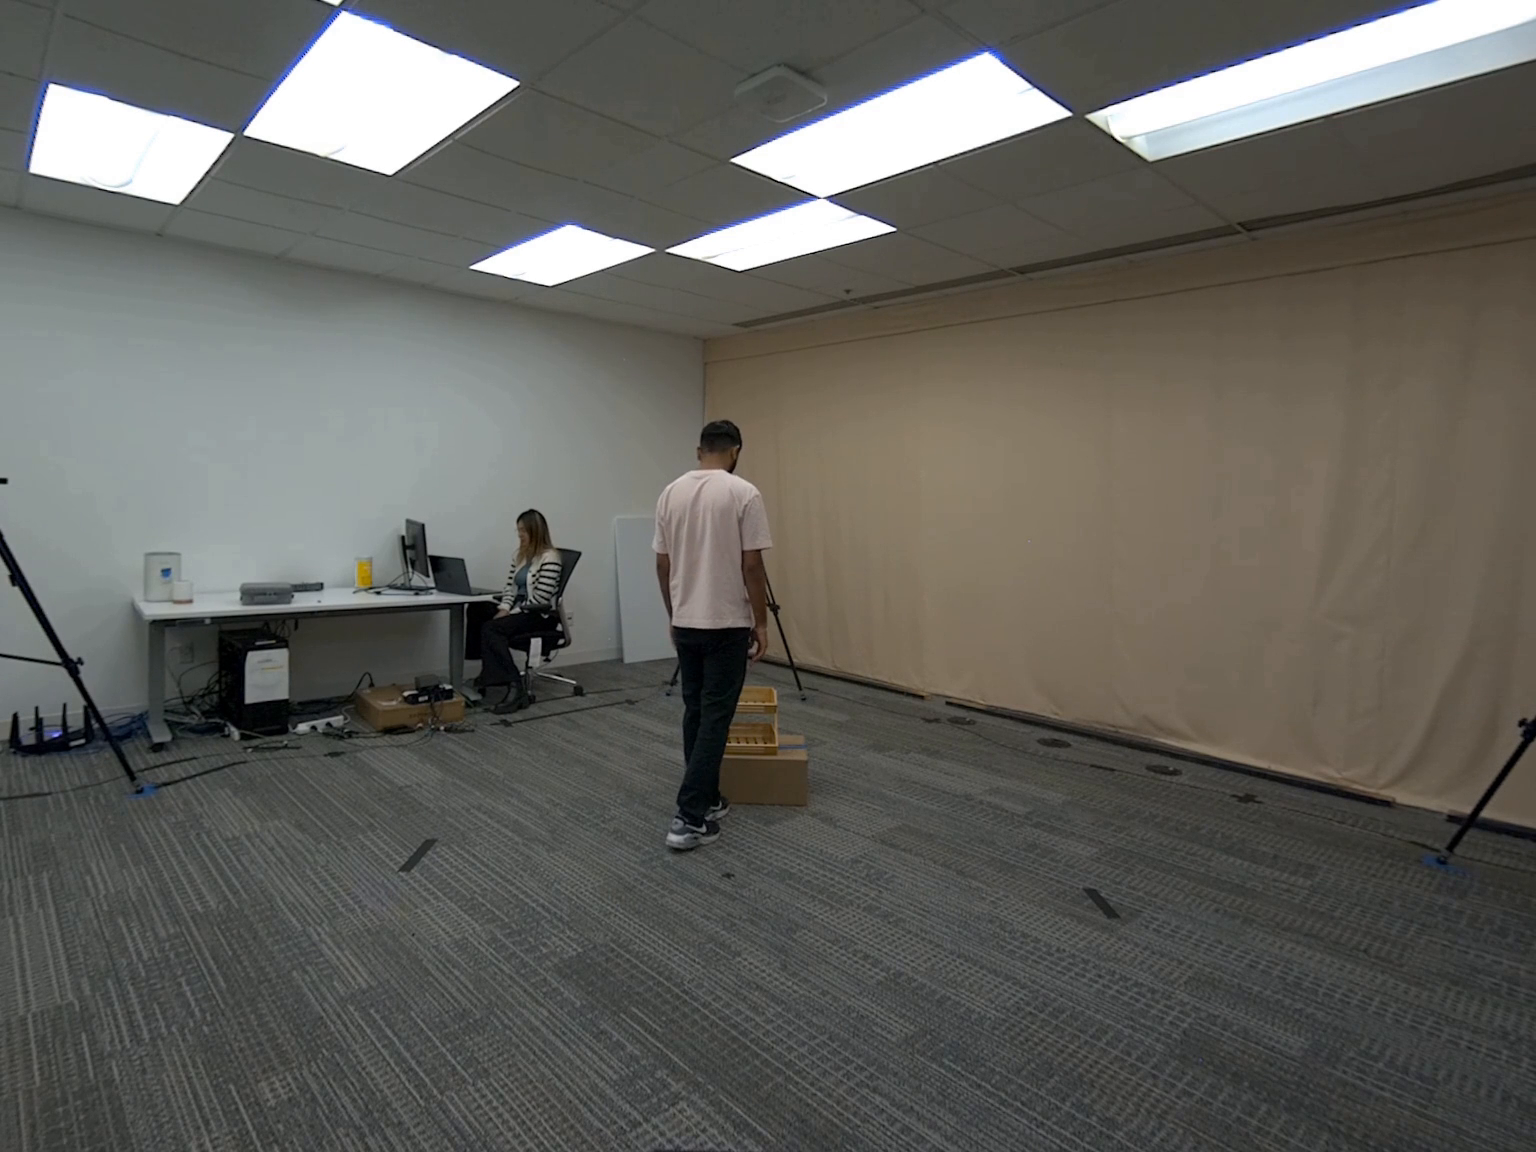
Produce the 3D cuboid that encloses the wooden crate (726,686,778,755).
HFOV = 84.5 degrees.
[{"bbox_3d":[-0.123,0.684,4.031,0.323,0.273,0.304,2,2,-6],"label":"wooden crate"}]
